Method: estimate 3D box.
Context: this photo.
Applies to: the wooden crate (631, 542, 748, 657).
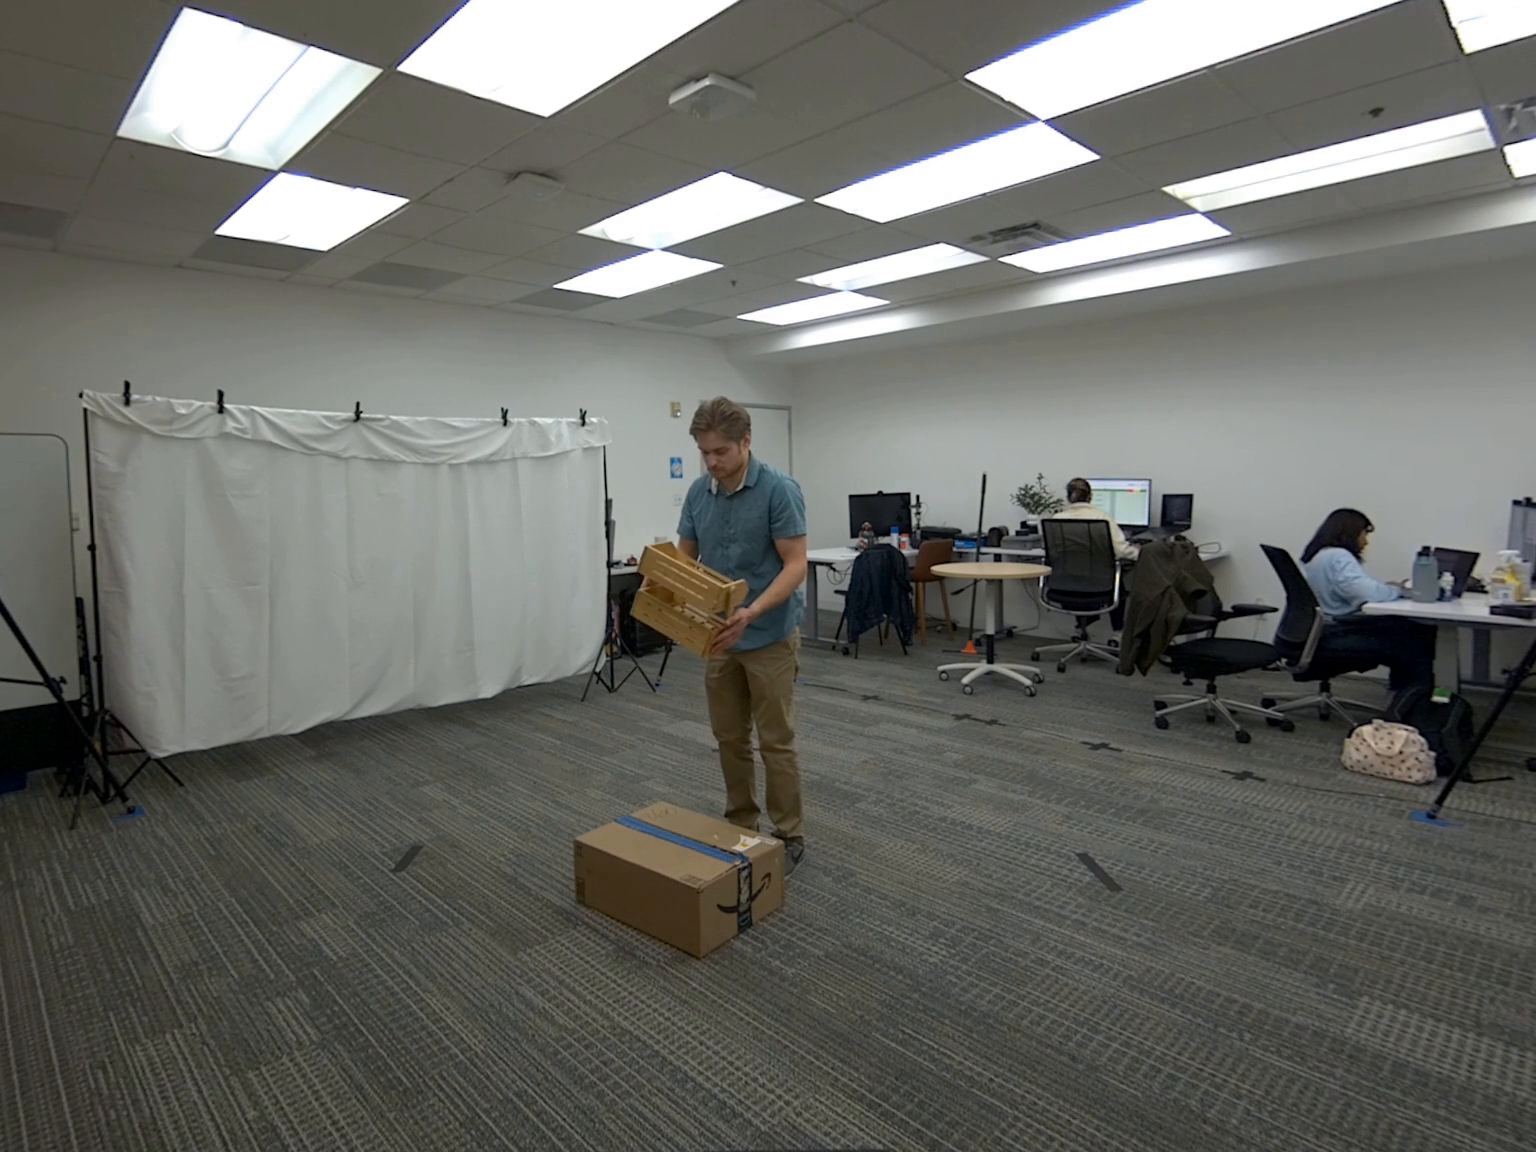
[{"bbox_3d":[-0.244,0.062,2.806,0.333,0.271,0.297,27,18,20],"label":"wooden crate"}]
